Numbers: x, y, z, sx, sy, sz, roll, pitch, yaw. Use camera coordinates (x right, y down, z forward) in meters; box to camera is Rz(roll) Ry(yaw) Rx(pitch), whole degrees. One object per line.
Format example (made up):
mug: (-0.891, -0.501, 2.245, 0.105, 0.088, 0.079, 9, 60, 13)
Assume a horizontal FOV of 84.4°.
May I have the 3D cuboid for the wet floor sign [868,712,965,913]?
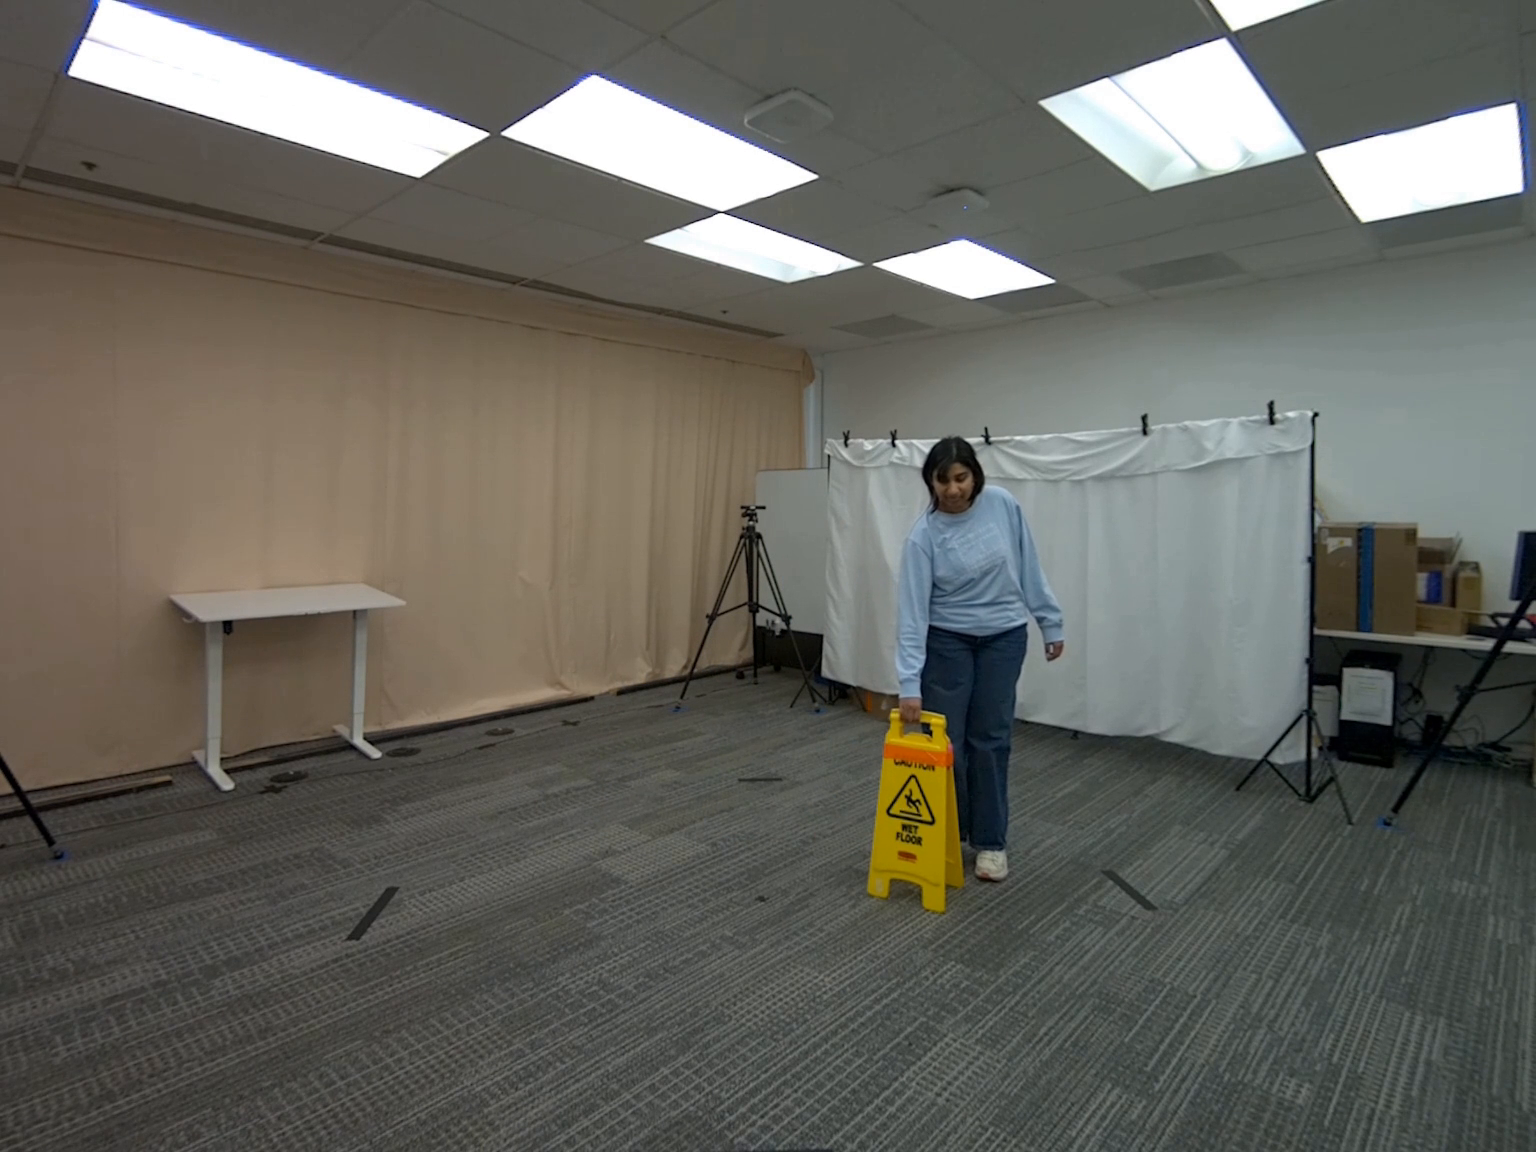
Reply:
wet floor sign: (0.544, 0.807, 3.031, 0.290, 0.645, 0.282, 3, 4, 30)
